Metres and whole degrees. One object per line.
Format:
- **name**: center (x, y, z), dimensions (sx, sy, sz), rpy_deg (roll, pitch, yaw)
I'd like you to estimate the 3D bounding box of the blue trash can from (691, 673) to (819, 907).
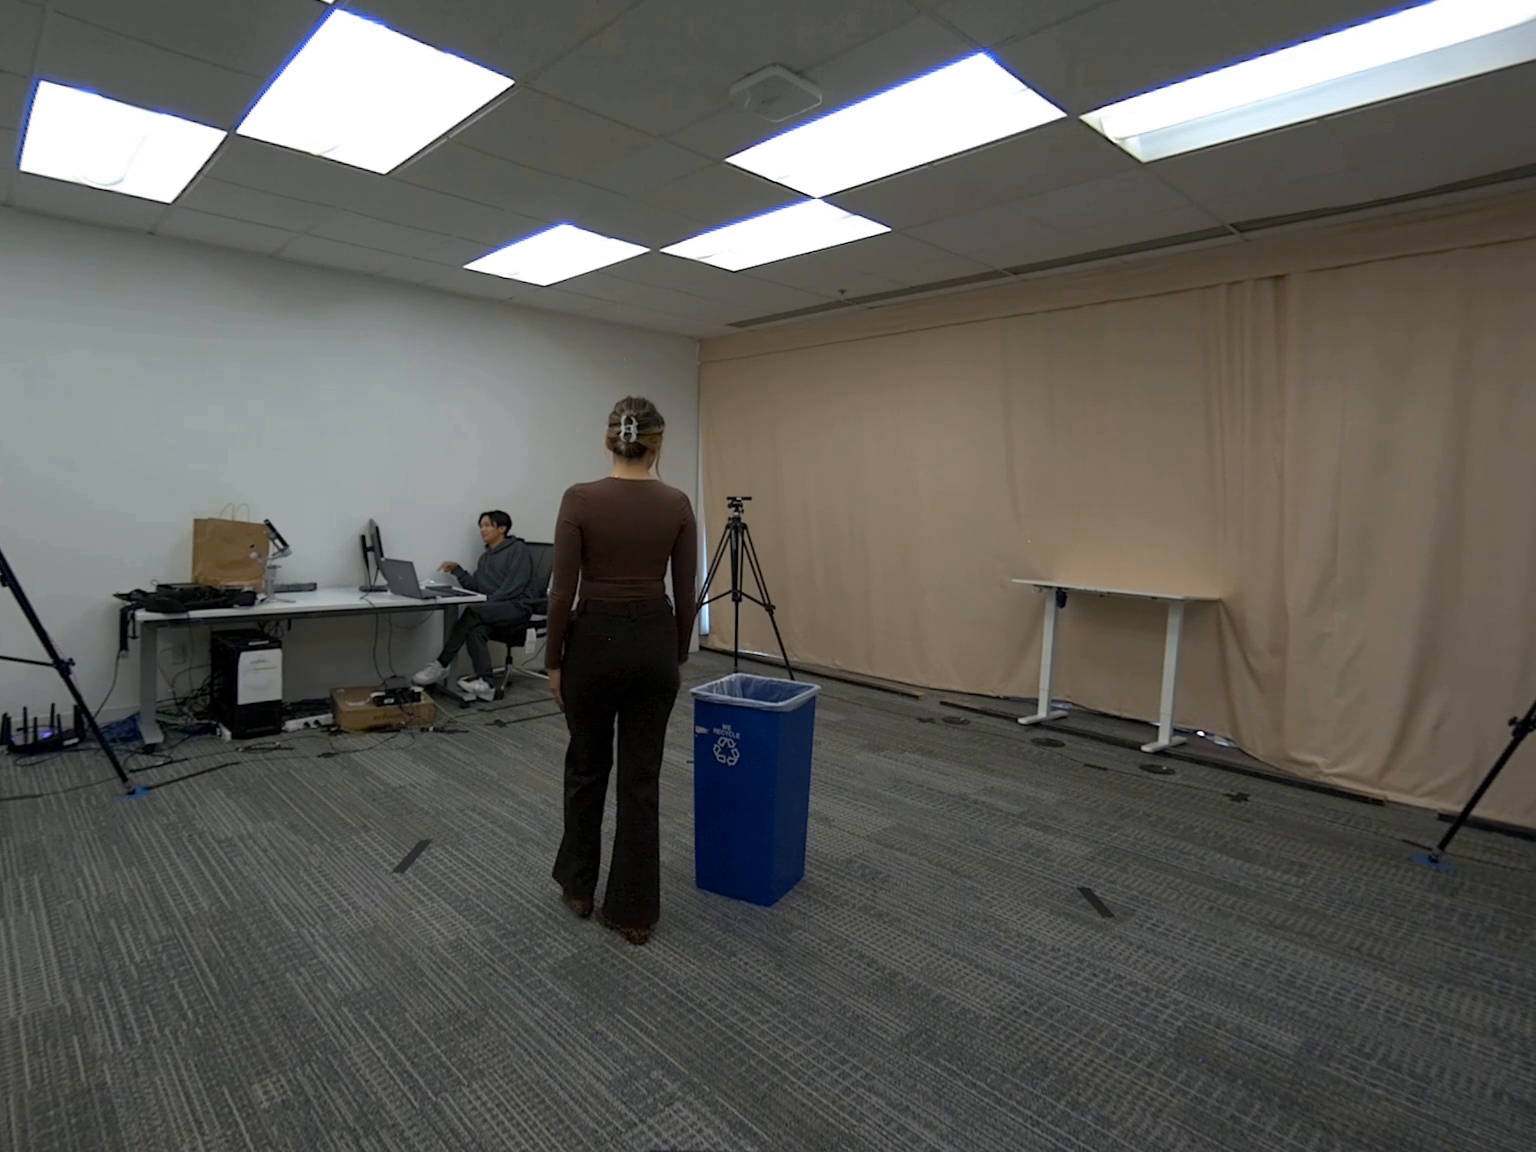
- **blue trash can**: center (-0.059, 0.755, 3.050), dimensions (0.386, 0.711, 0.367), rpy_deg (4, 5, 27)
